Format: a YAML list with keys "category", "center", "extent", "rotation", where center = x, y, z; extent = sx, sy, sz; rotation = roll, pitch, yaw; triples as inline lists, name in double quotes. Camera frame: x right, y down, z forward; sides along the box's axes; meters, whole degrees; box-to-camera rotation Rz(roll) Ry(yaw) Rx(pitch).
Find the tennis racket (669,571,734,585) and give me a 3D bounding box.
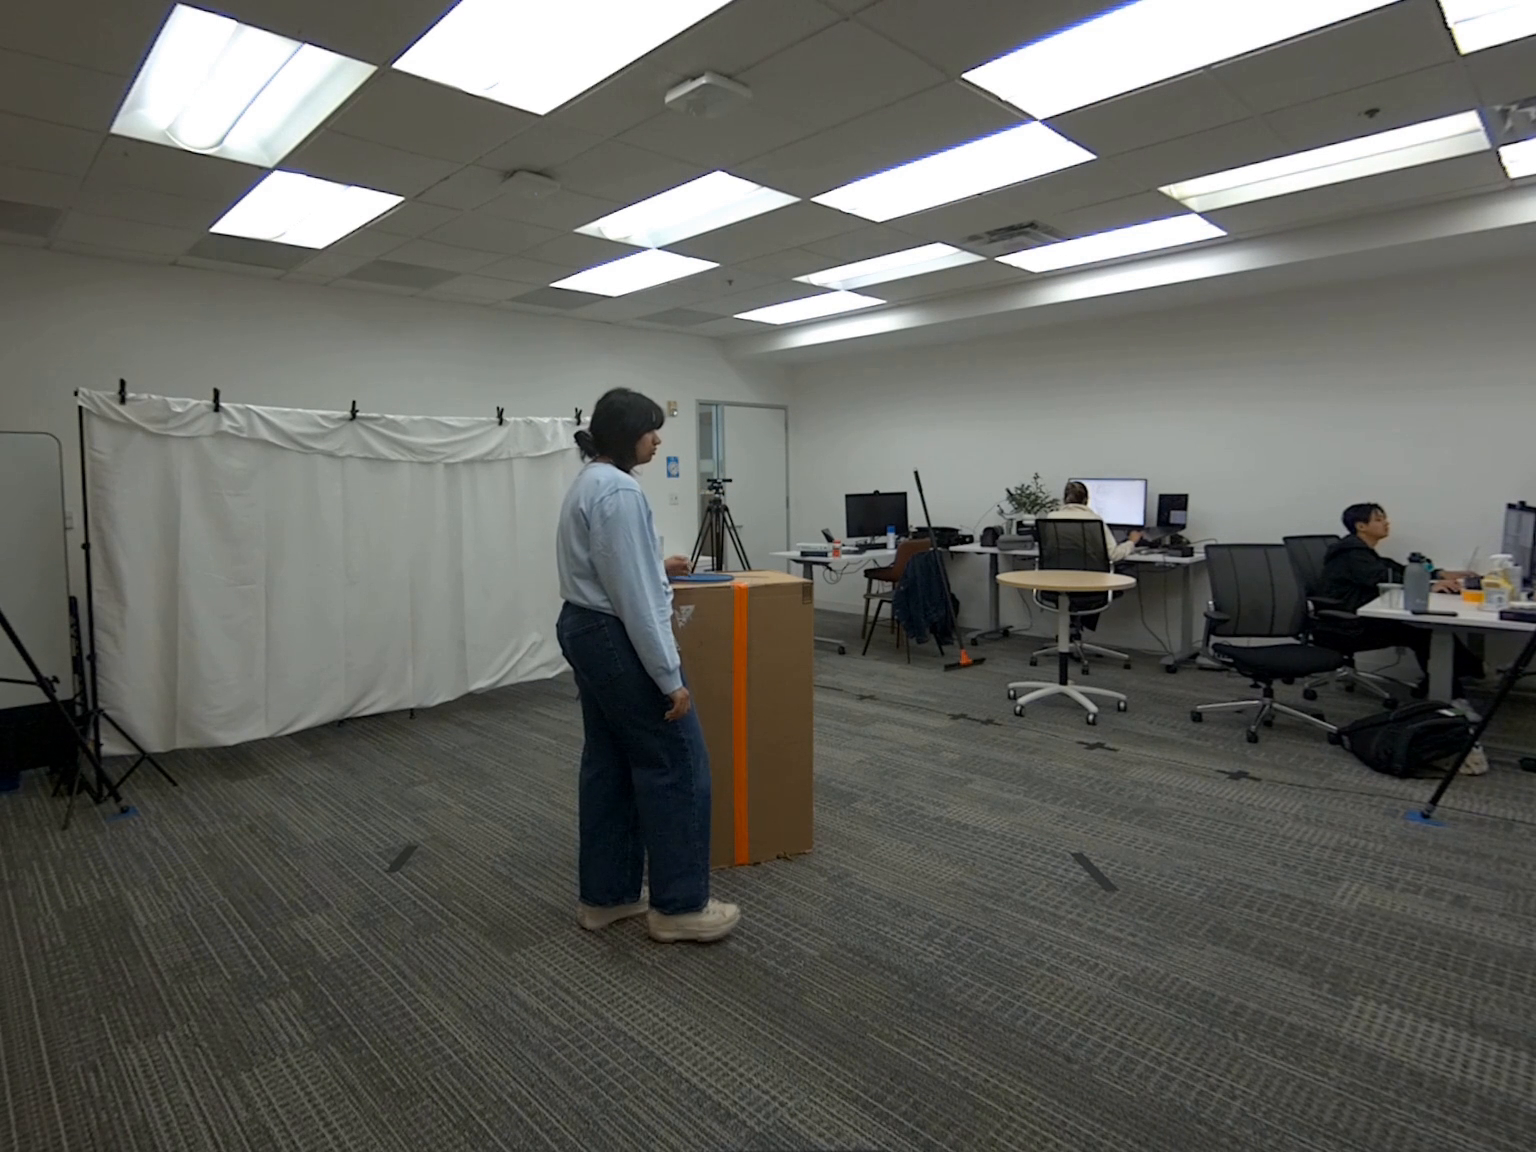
- category: "tennis racket"
  center: [-0.299, 0.015, 3.124]
  extent: [0.421, 0.031, 0.220]
  rotation: [-5, 8, -39]
